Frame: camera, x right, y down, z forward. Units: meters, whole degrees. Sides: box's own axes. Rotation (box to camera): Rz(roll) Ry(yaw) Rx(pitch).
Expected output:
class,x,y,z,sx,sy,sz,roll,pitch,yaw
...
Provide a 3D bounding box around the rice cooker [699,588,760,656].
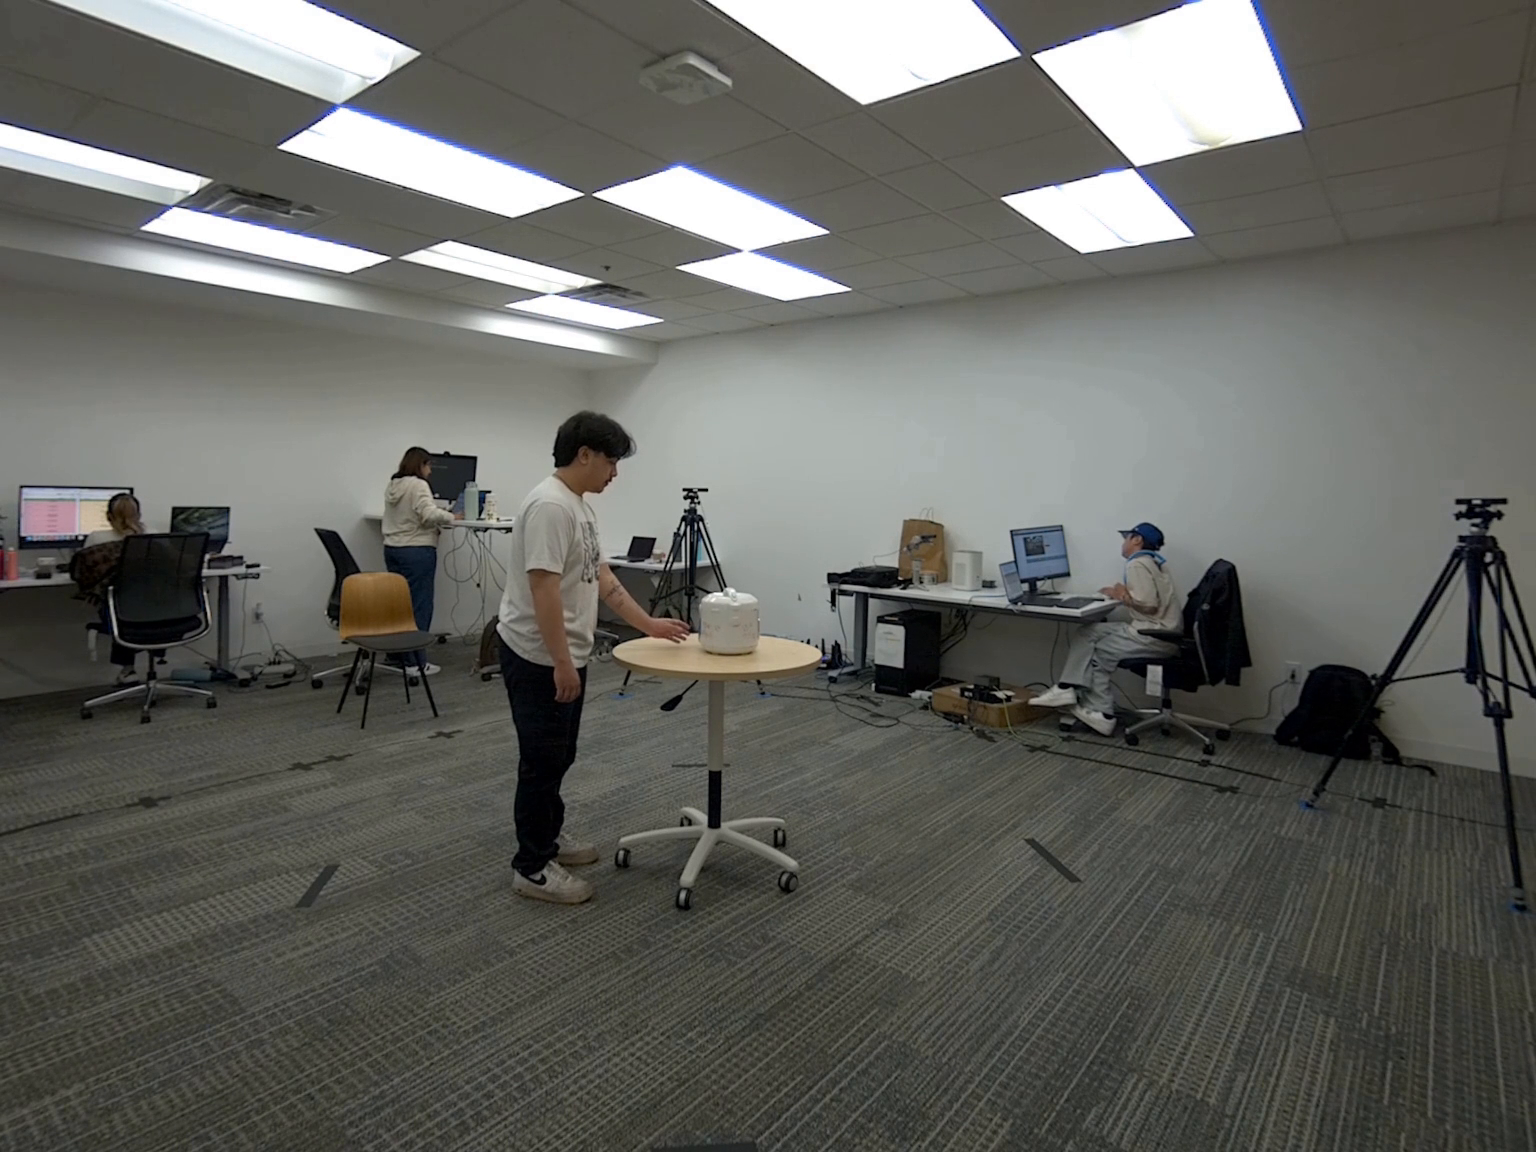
class,x,y,z,sx,sy,sz,roll,pitch,yaw
rice cooker,-0.147,0.156,3.110,0.215,0.232,0.224,1,4,-11
